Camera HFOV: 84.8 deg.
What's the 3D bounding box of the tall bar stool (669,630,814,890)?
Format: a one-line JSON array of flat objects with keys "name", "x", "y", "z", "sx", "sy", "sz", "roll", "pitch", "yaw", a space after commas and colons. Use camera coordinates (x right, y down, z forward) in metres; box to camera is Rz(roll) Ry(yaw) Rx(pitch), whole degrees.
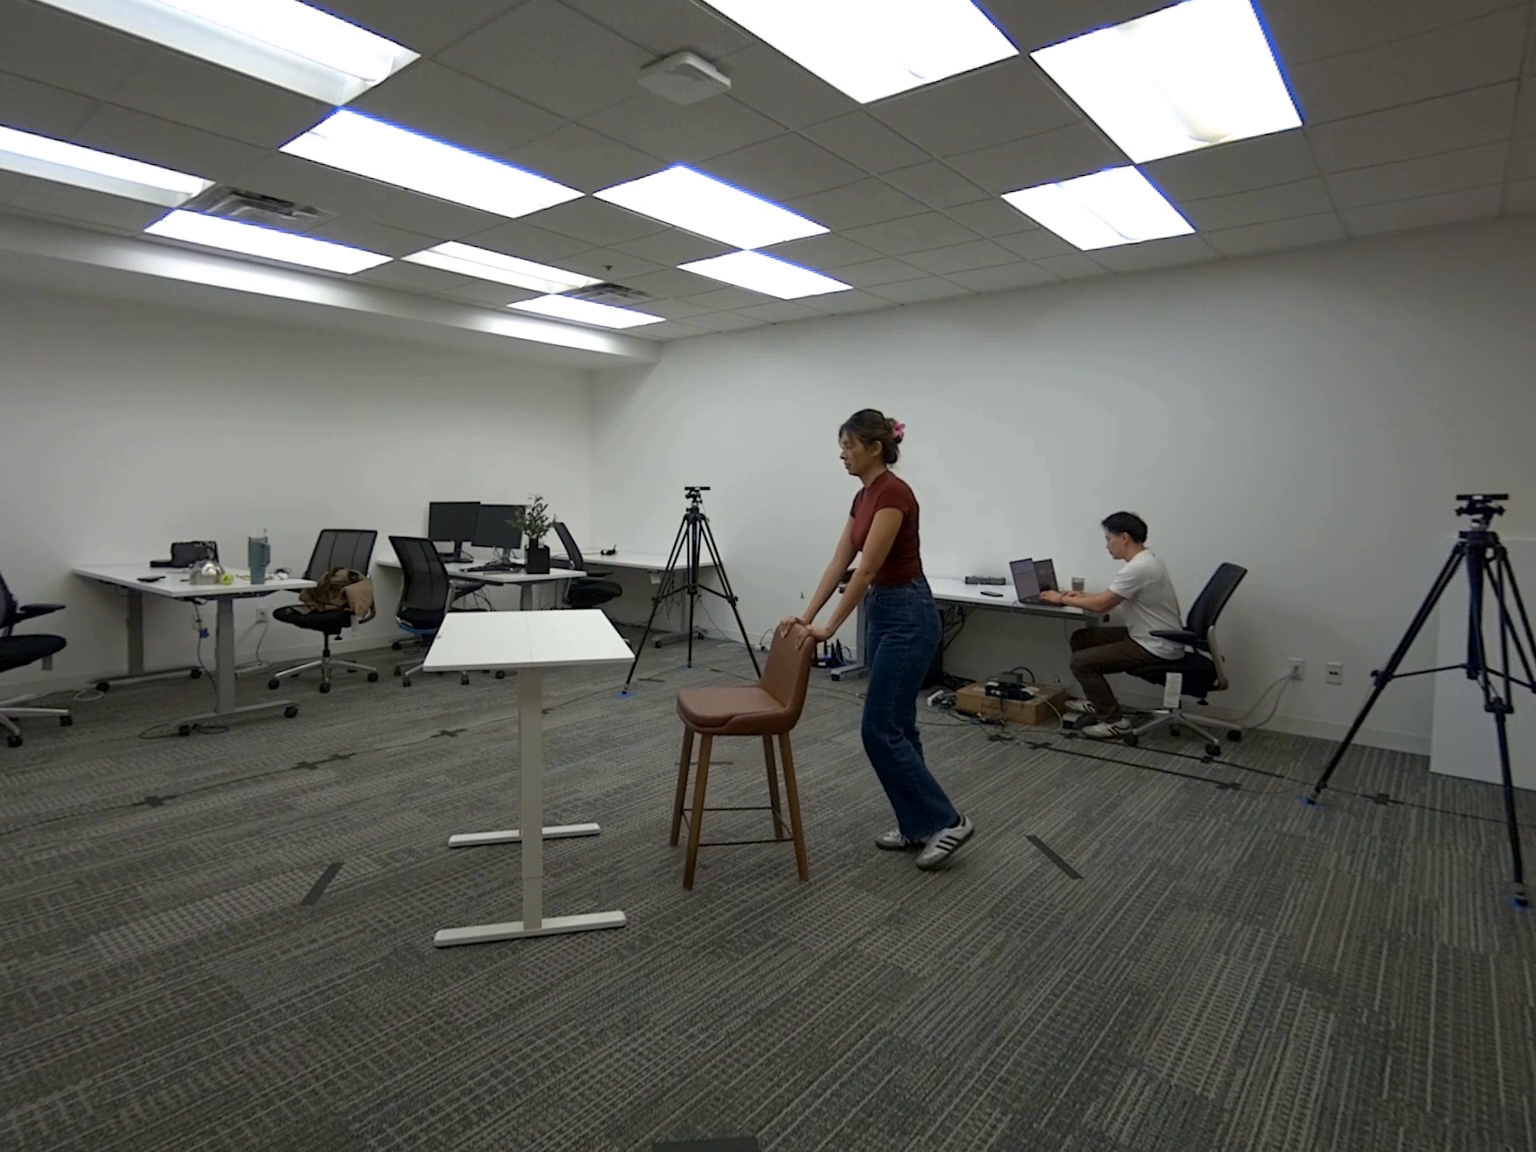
[{"name": "tall bar stool", "x": -0.106, "y": 0.624, "z": 3.147, "sx": 0.462, "sy": 0.888, "sz": 0.464, "roll": 3, "pitch": 3, "yaw": -12}]
